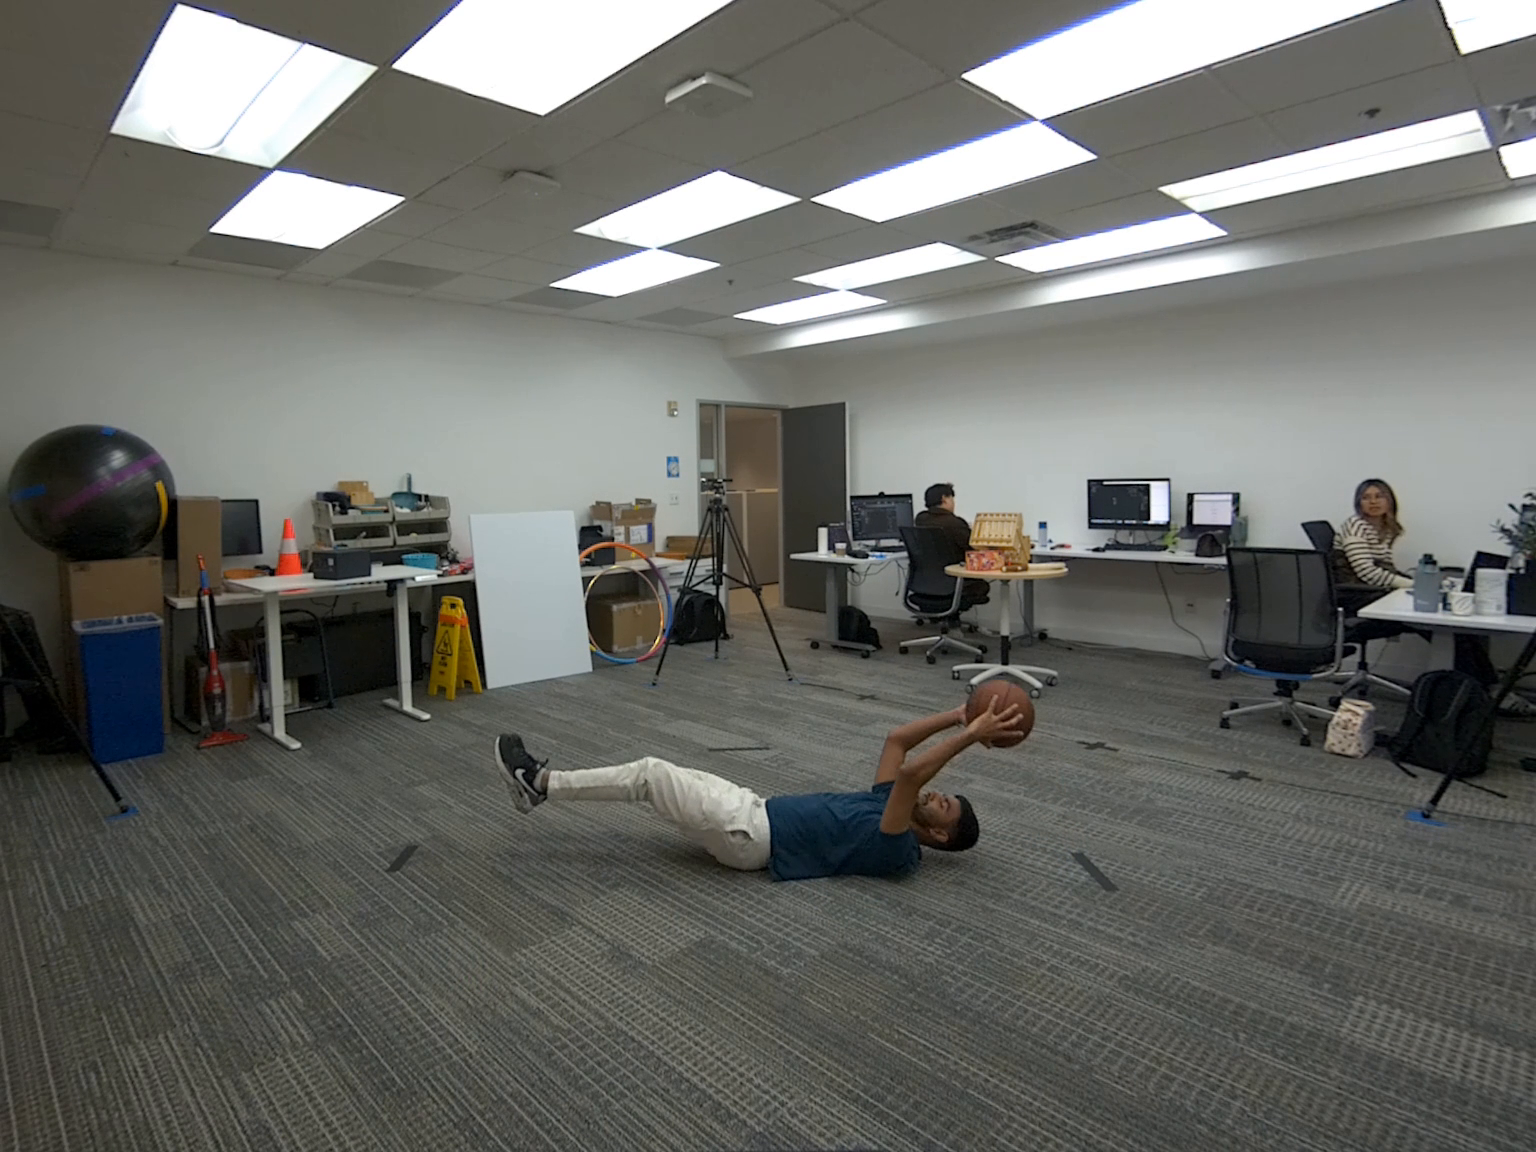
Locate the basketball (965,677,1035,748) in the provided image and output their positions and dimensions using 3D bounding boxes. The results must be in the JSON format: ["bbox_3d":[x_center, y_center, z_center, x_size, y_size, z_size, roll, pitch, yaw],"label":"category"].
[{"bbox_3d":[0.827,0.491,3.066,0.236,0.235,0.237,-1,5,-2],"label":"basketball"}]
